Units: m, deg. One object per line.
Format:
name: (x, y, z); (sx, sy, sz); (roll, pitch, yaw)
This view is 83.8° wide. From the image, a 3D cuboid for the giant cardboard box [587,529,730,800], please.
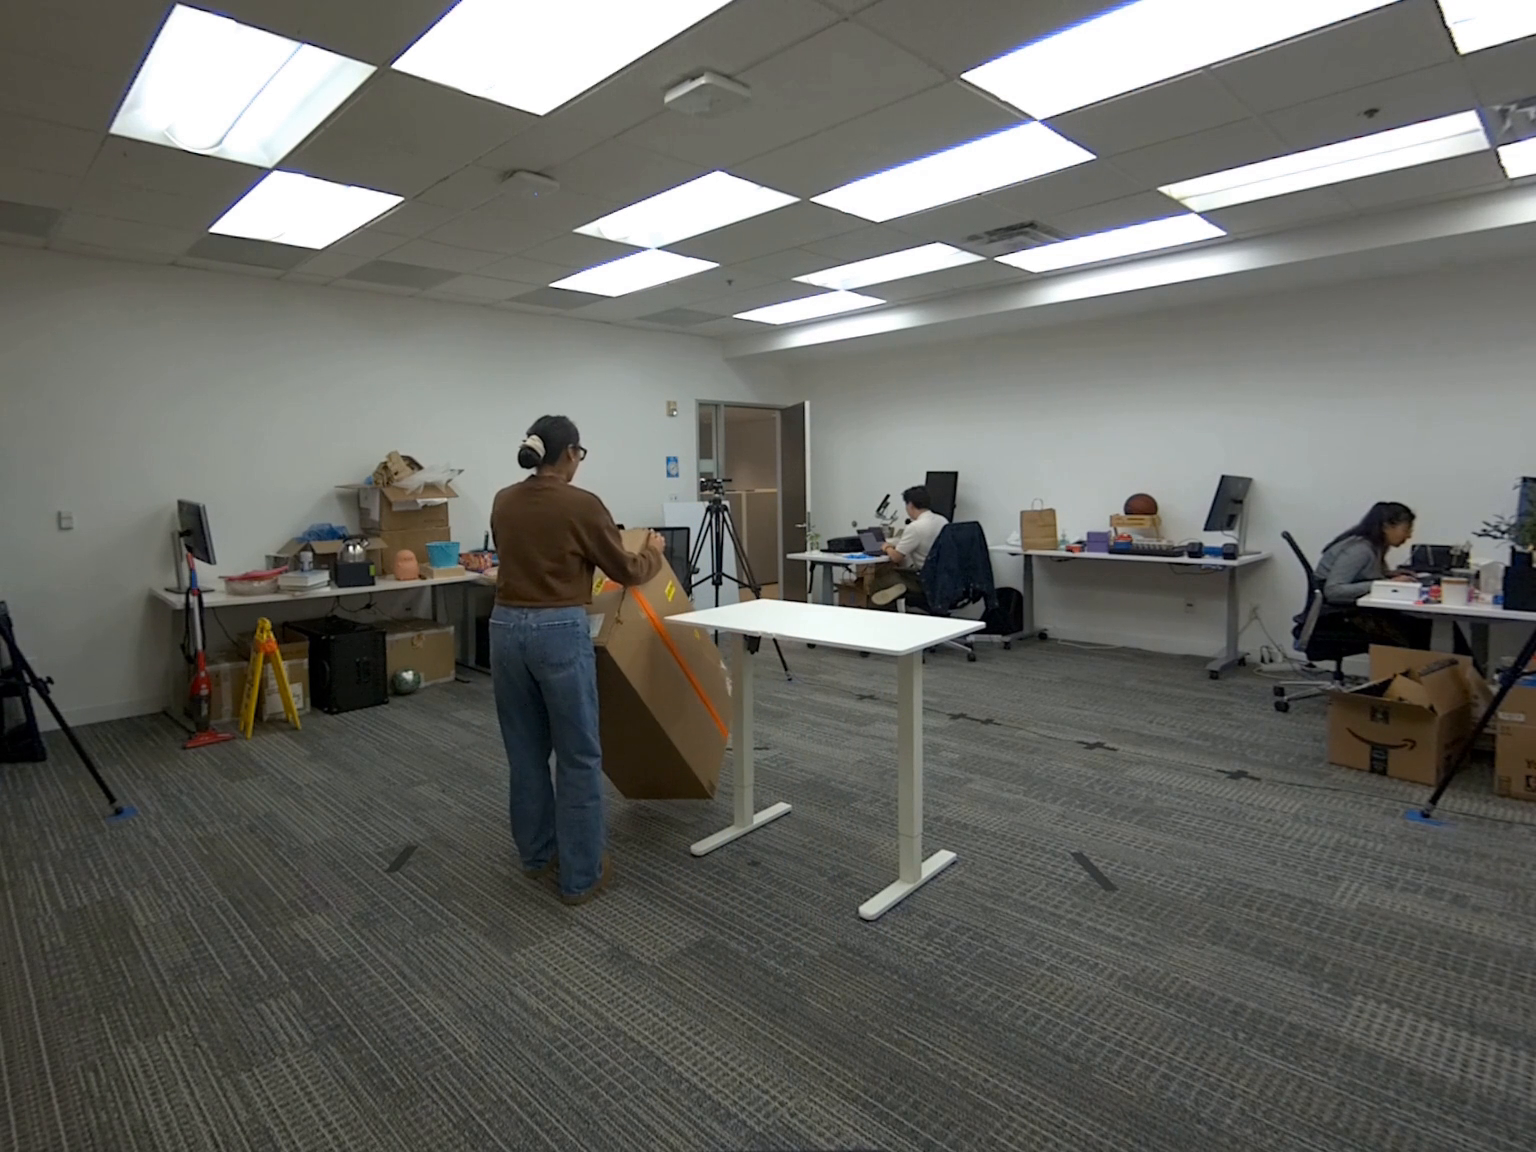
giant cardboard box: (-0.537, 0.390, 3.478); (0.433, 0.989, 0.589); (-7, 44, 21)
